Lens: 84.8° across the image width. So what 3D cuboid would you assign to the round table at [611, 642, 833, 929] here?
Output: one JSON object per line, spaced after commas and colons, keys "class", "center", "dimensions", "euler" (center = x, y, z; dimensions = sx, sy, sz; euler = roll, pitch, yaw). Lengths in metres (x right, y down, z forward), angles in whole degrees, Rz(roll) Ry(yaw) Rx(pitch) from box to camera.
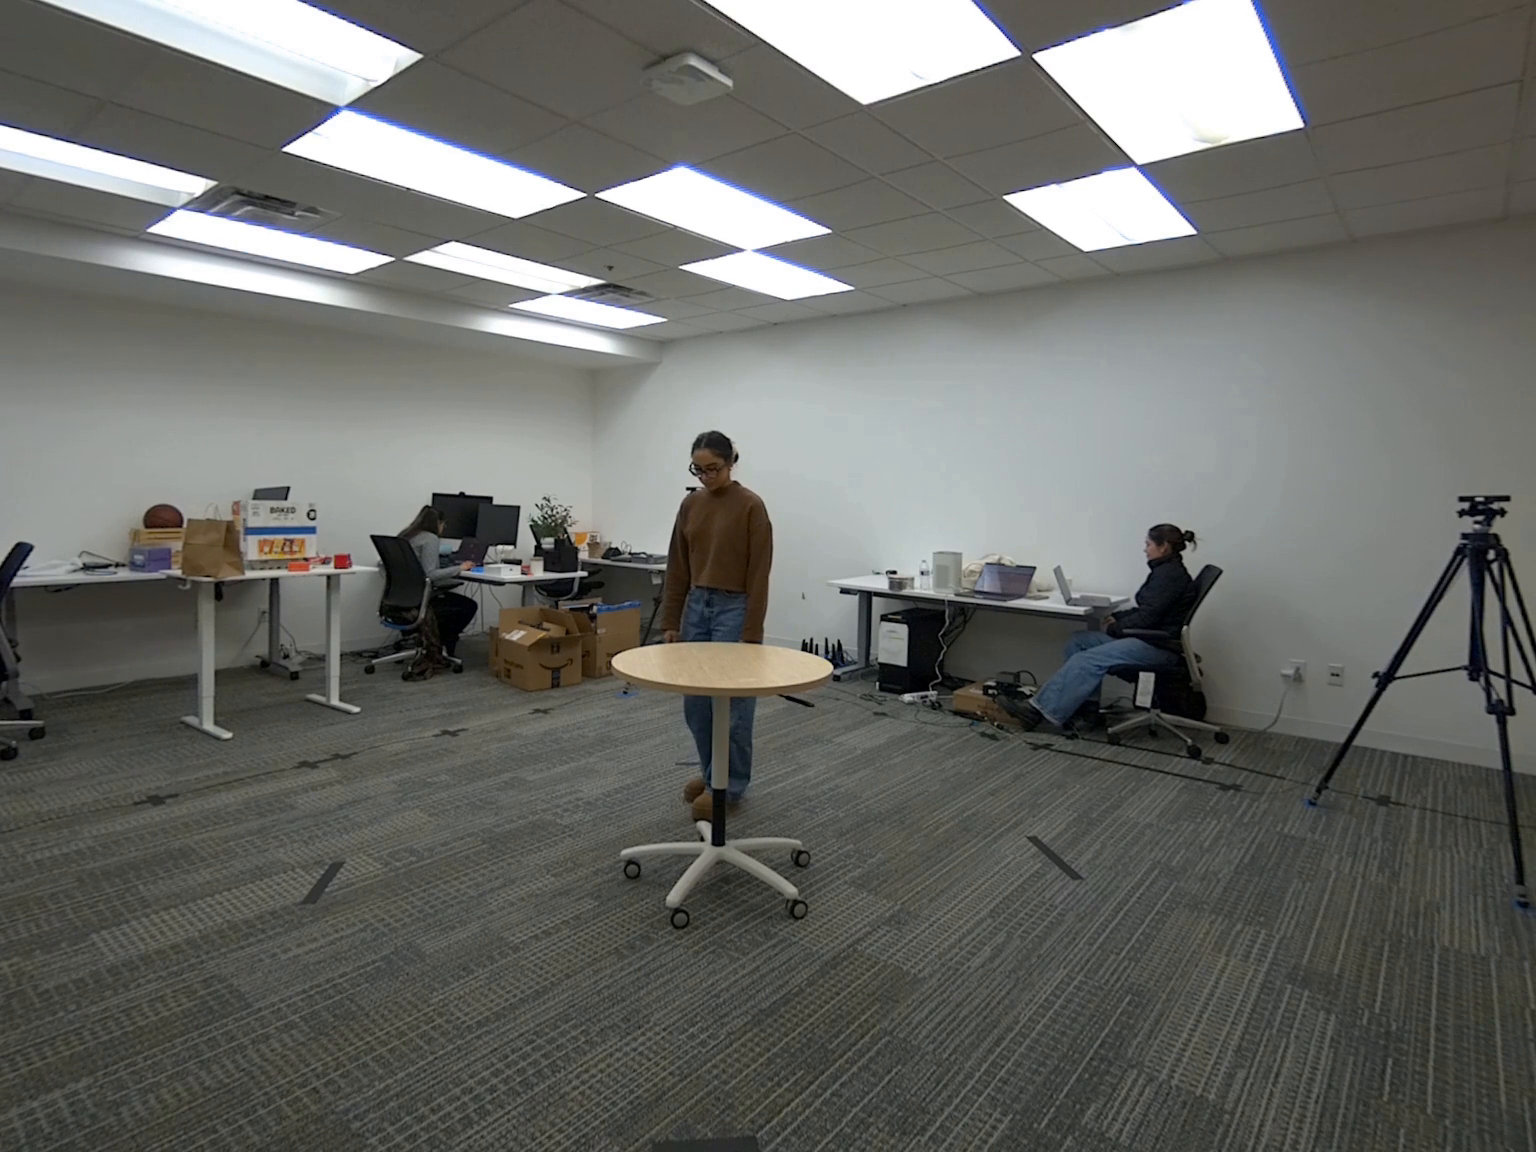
{"class": "round table", "center": [-0.168, 0.690, 2.978], "dimensions": [0.763, 0.791, 0.768], "euler": [1, 4, -2]}
